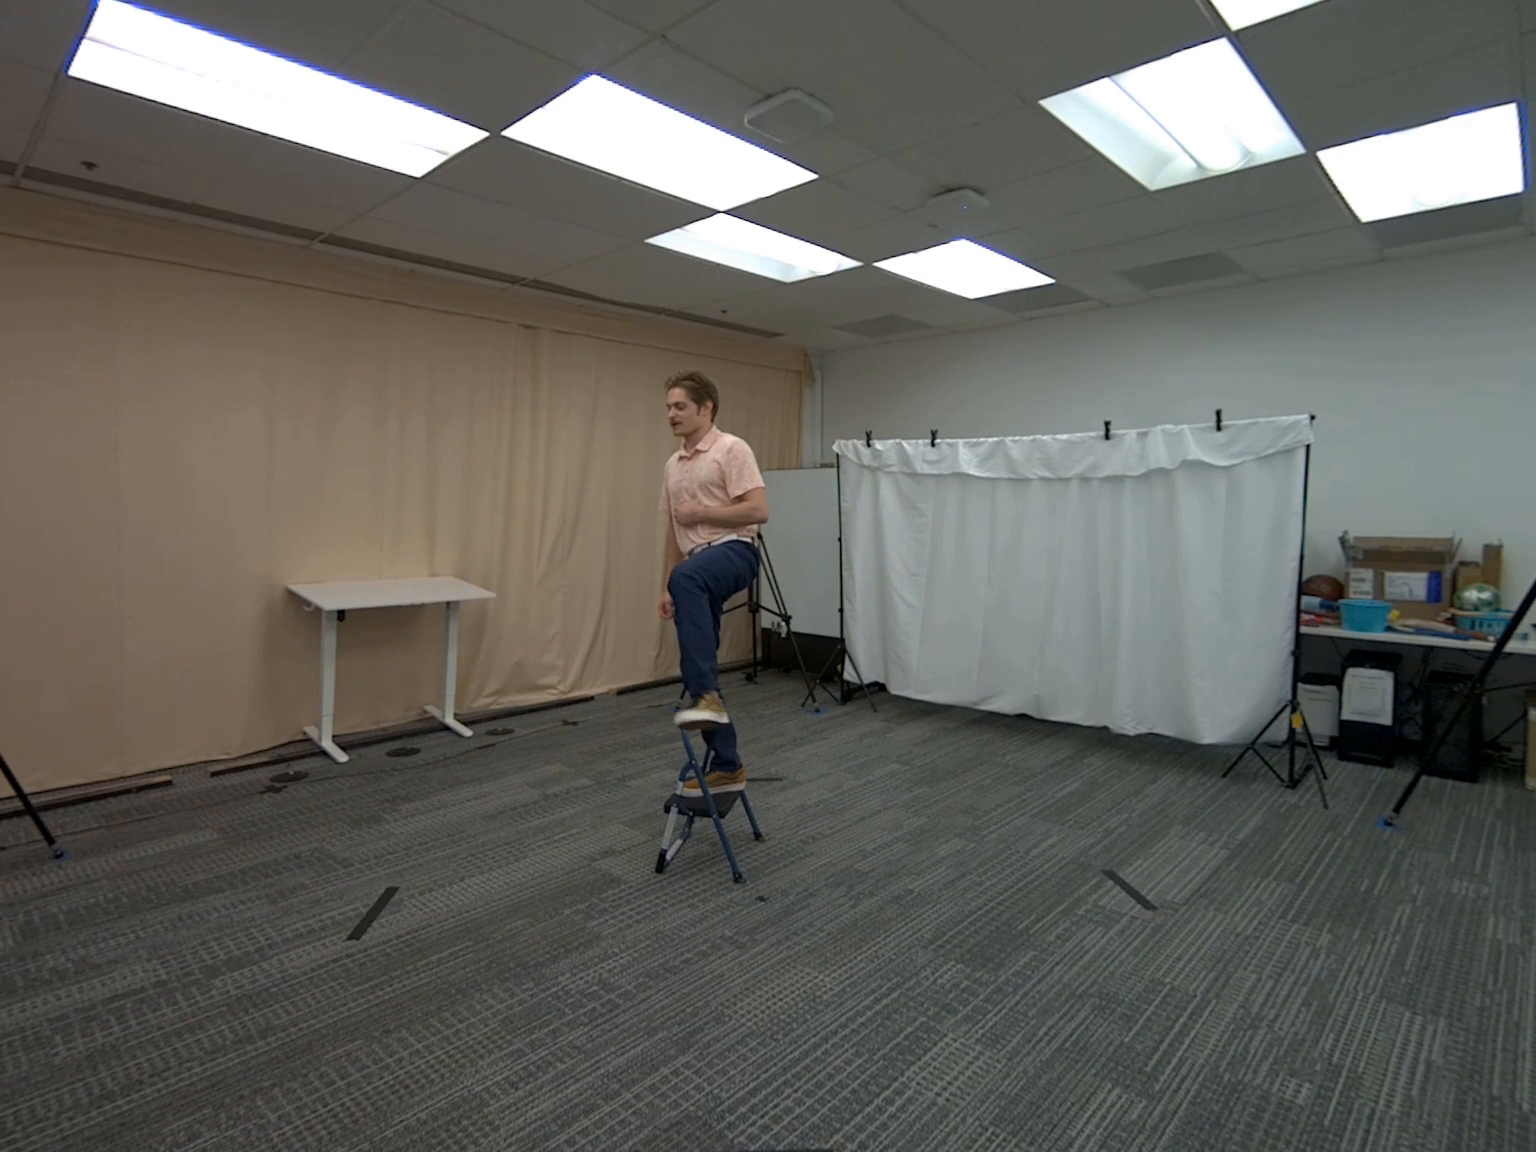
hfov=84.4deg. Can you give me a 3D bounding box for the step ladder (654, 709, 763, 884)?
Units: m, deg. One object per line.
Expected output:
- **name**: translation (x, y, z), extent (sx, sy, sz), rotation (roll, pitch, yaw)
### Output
- **step ladder**: translation (-0.224, 0.817, 3.337), extent (0.354, 0.605, 0.426), rotation (0, 3, 11)
